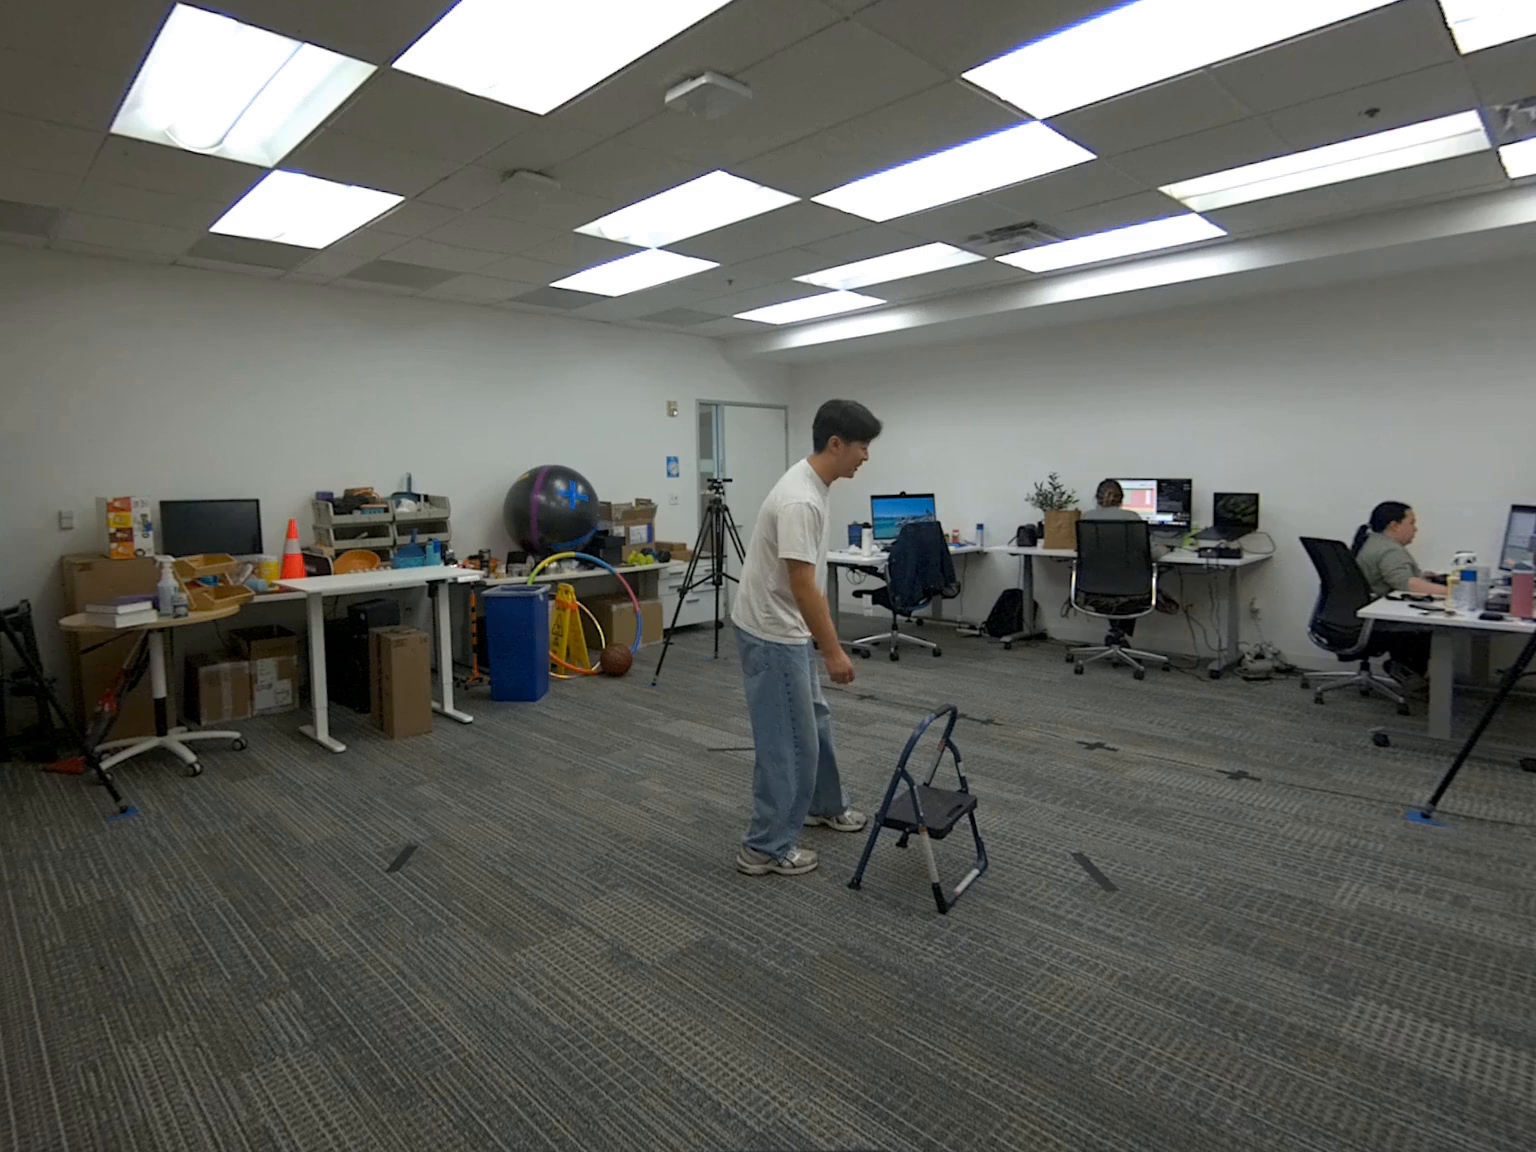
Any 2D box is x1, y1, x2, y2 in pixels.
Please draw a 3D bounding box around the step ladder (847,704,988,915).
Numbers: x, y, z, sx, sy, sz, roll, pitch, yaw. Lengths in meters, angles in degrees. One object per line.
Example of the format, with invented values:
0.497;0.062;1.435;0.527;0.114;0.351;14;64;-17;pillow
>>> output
0.528;0.748;2.960;0.359;0.604;0.420;2;5;34;step ladder
